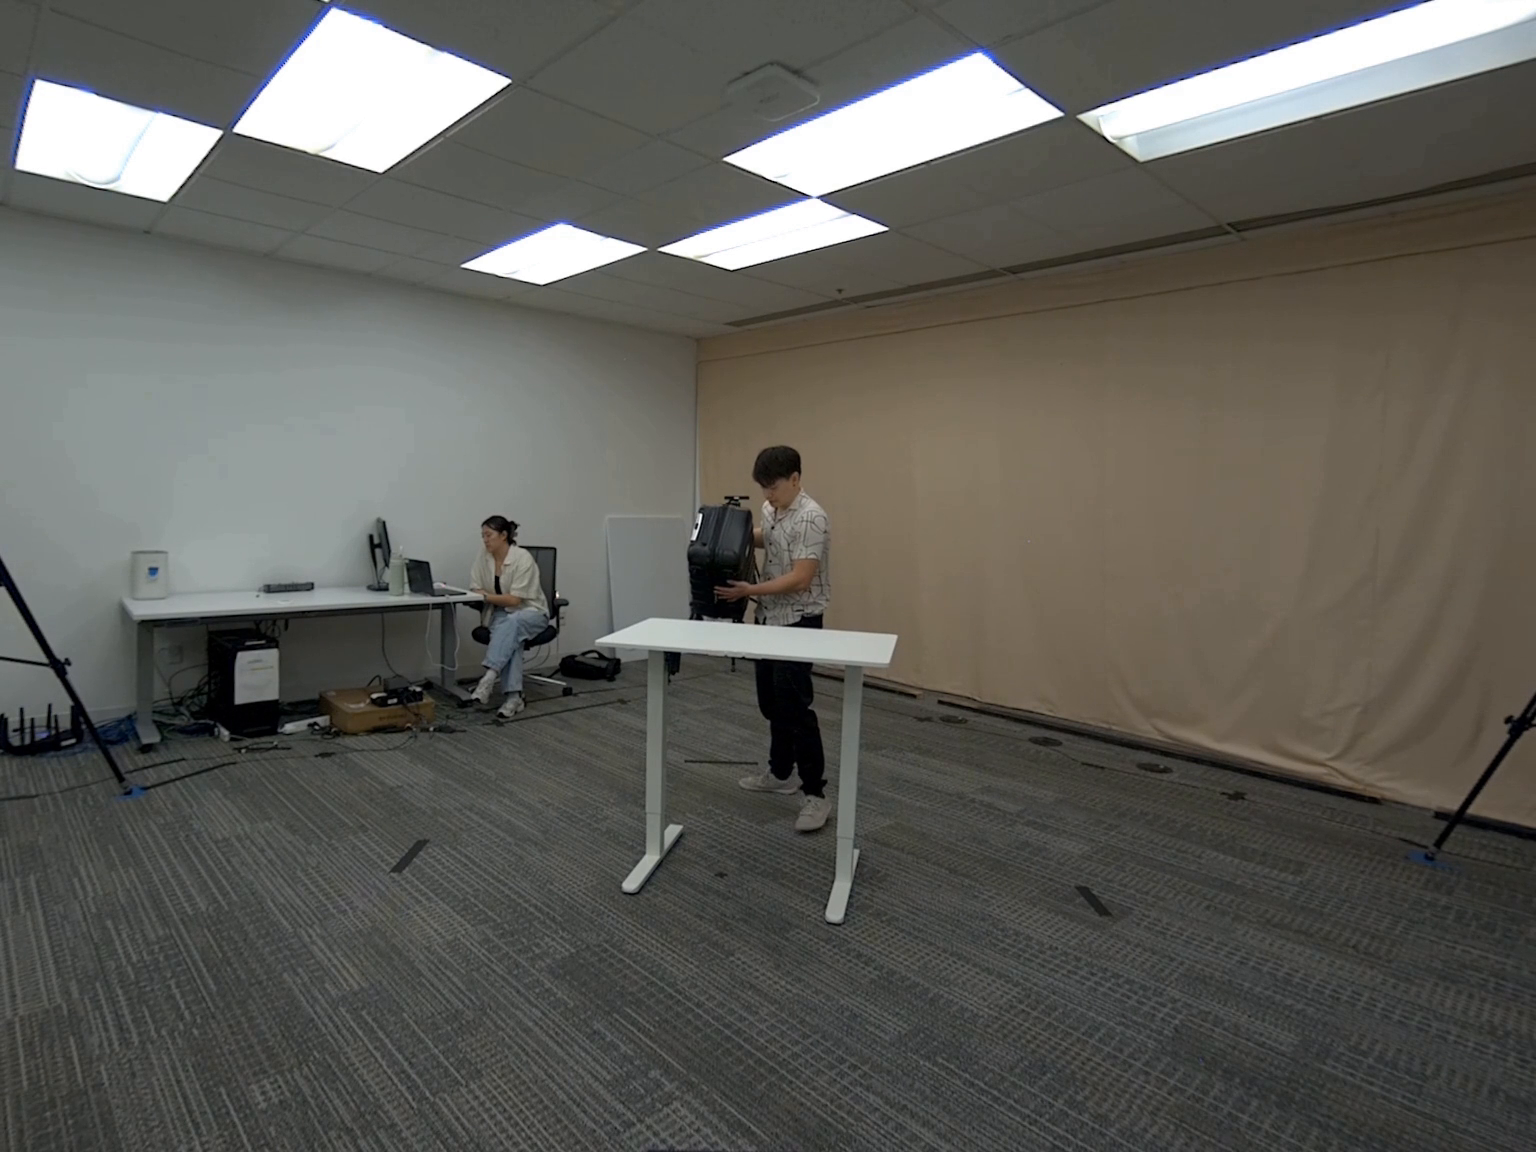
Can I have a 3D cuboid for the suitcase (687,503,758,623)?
[{"bbox_3d":[-0.218,-0.061,3.929,0.250,0.381,0.537,8,-38,7],"label":"suitcase"}]
